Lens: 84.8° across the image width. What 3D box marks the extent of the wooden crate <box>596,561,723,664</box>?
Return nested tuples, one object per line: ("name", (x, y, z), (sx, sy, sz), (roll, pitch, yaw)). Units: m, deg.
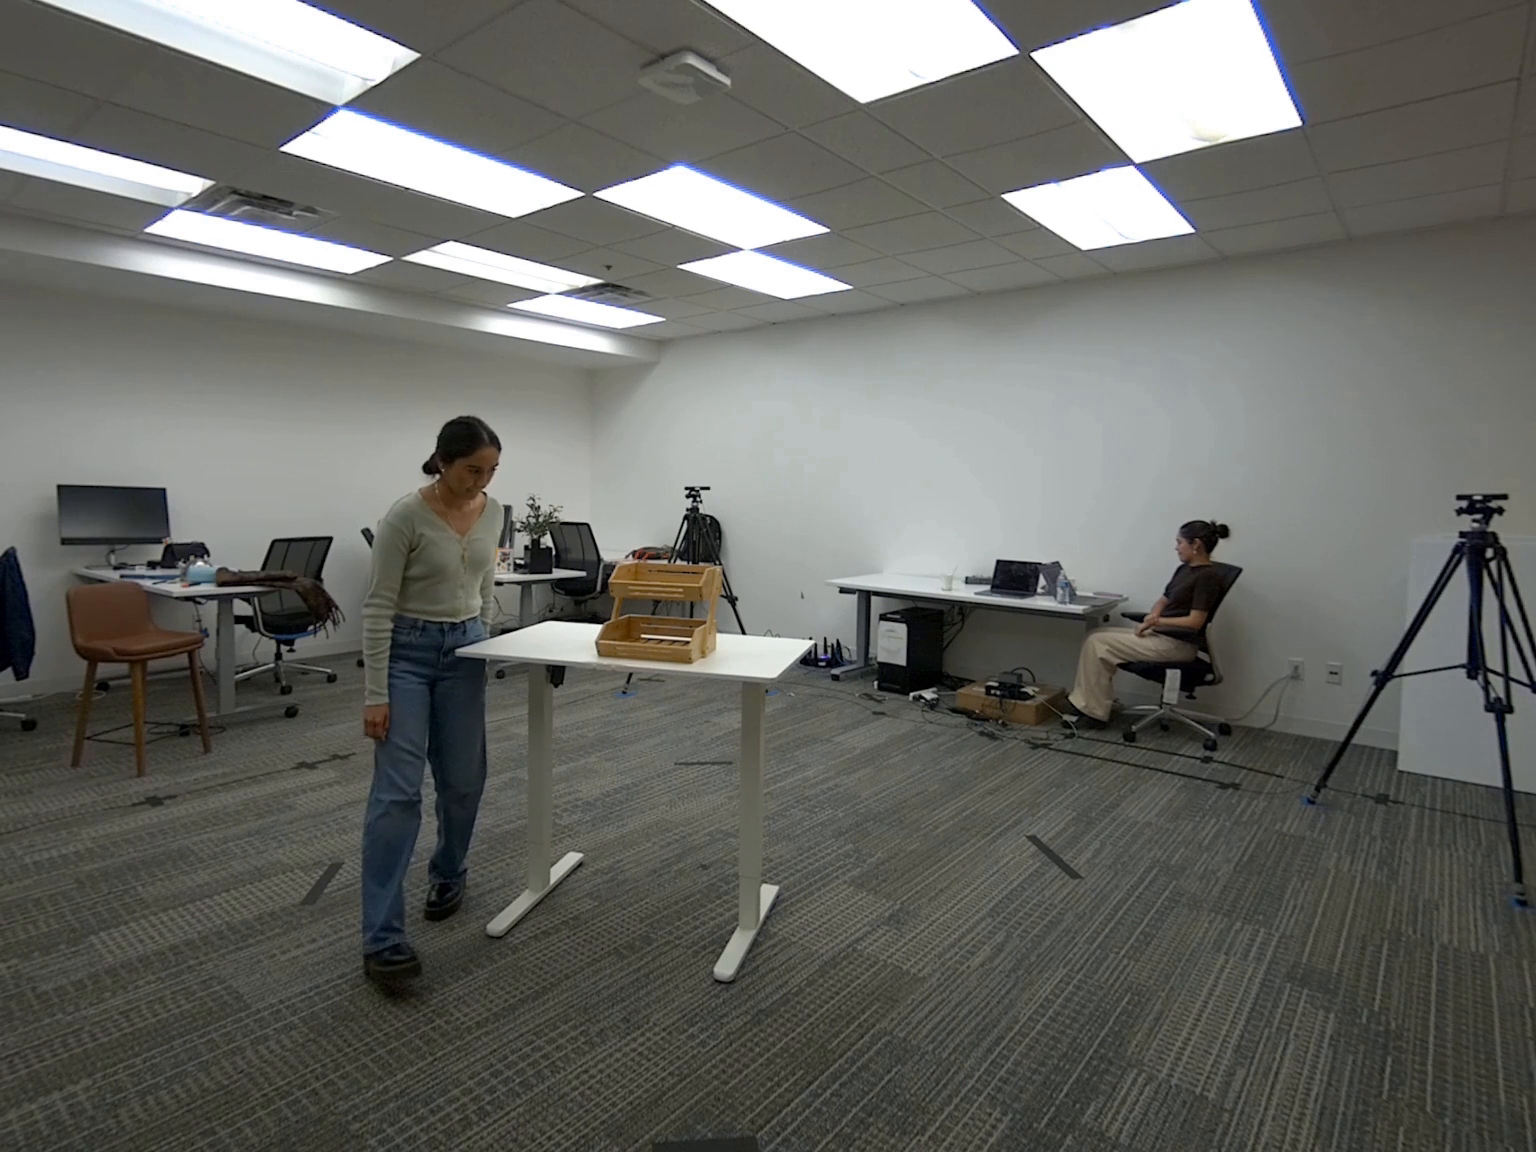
("wooden crate", (-0.336, 0.103, 2.601), (0.329, 0.272, 0.298), (2, 4, 13))
